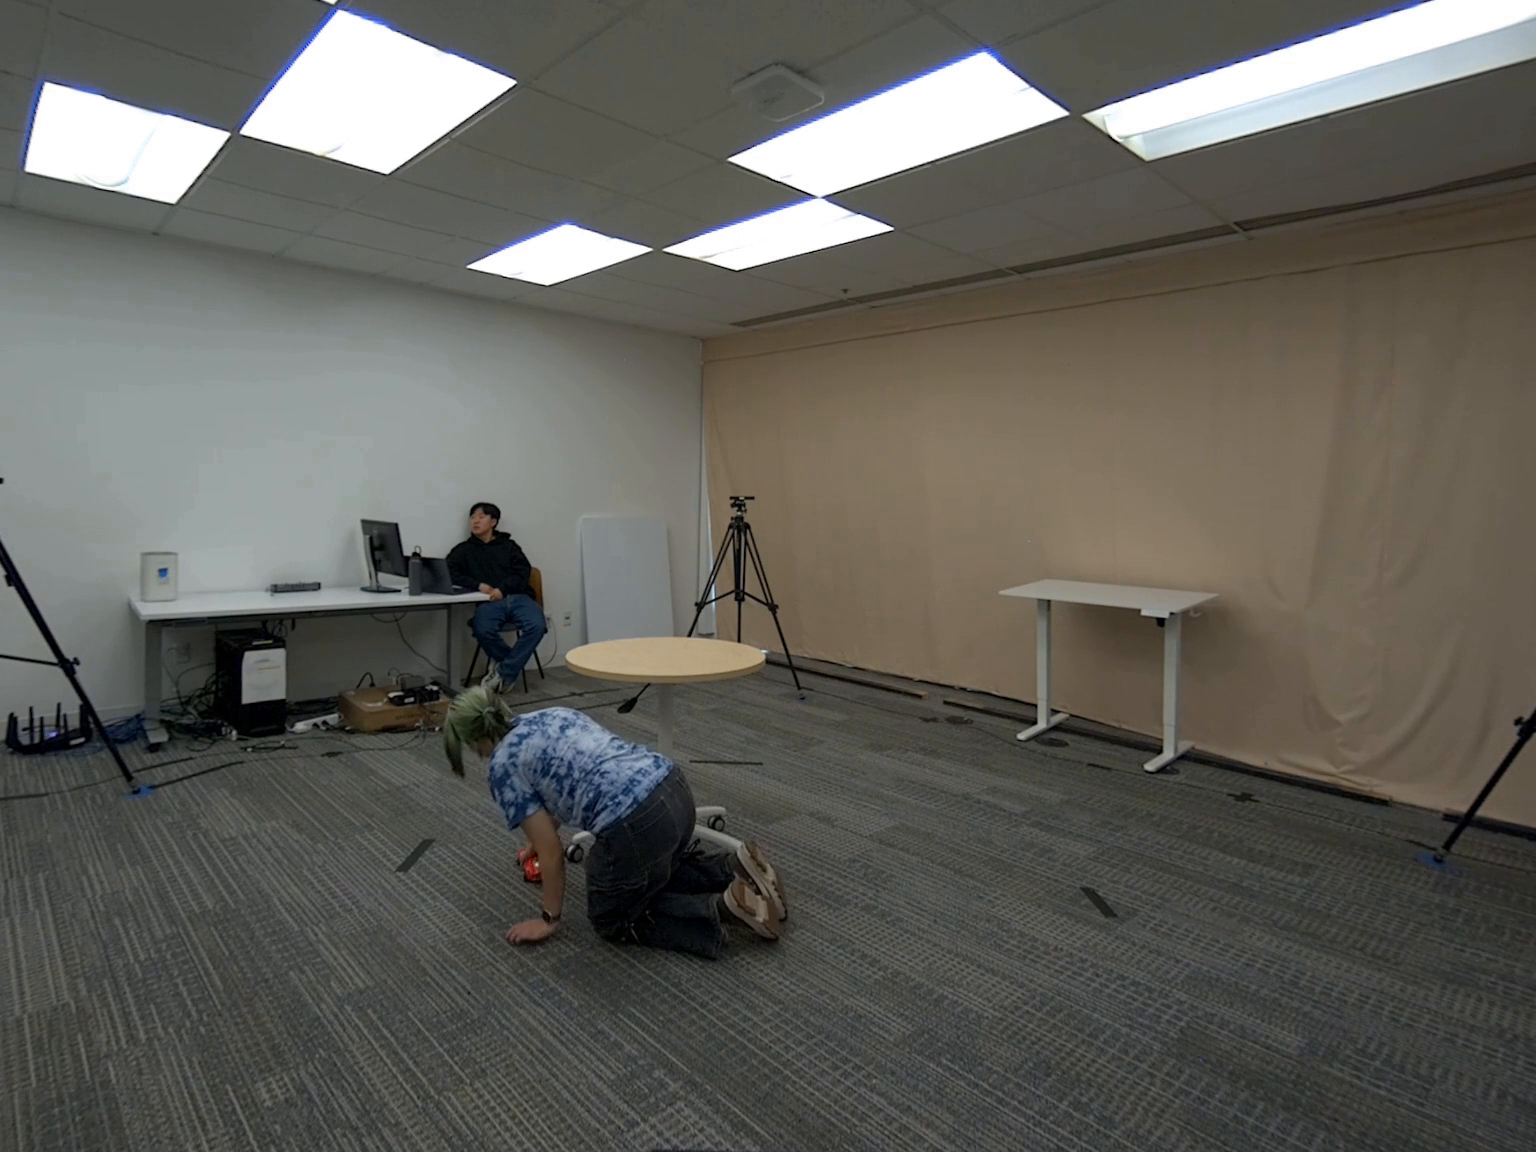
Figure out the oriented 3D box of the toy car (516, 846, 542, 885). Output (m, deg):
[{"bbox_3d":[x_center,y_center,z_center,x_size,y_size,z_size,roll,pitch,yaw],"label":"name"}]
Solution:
[{"bbox_3d":[-0.862,1.064,3.079,0.128,0.083,0.258,-1,-6,-27],"label":"toy car"}]
